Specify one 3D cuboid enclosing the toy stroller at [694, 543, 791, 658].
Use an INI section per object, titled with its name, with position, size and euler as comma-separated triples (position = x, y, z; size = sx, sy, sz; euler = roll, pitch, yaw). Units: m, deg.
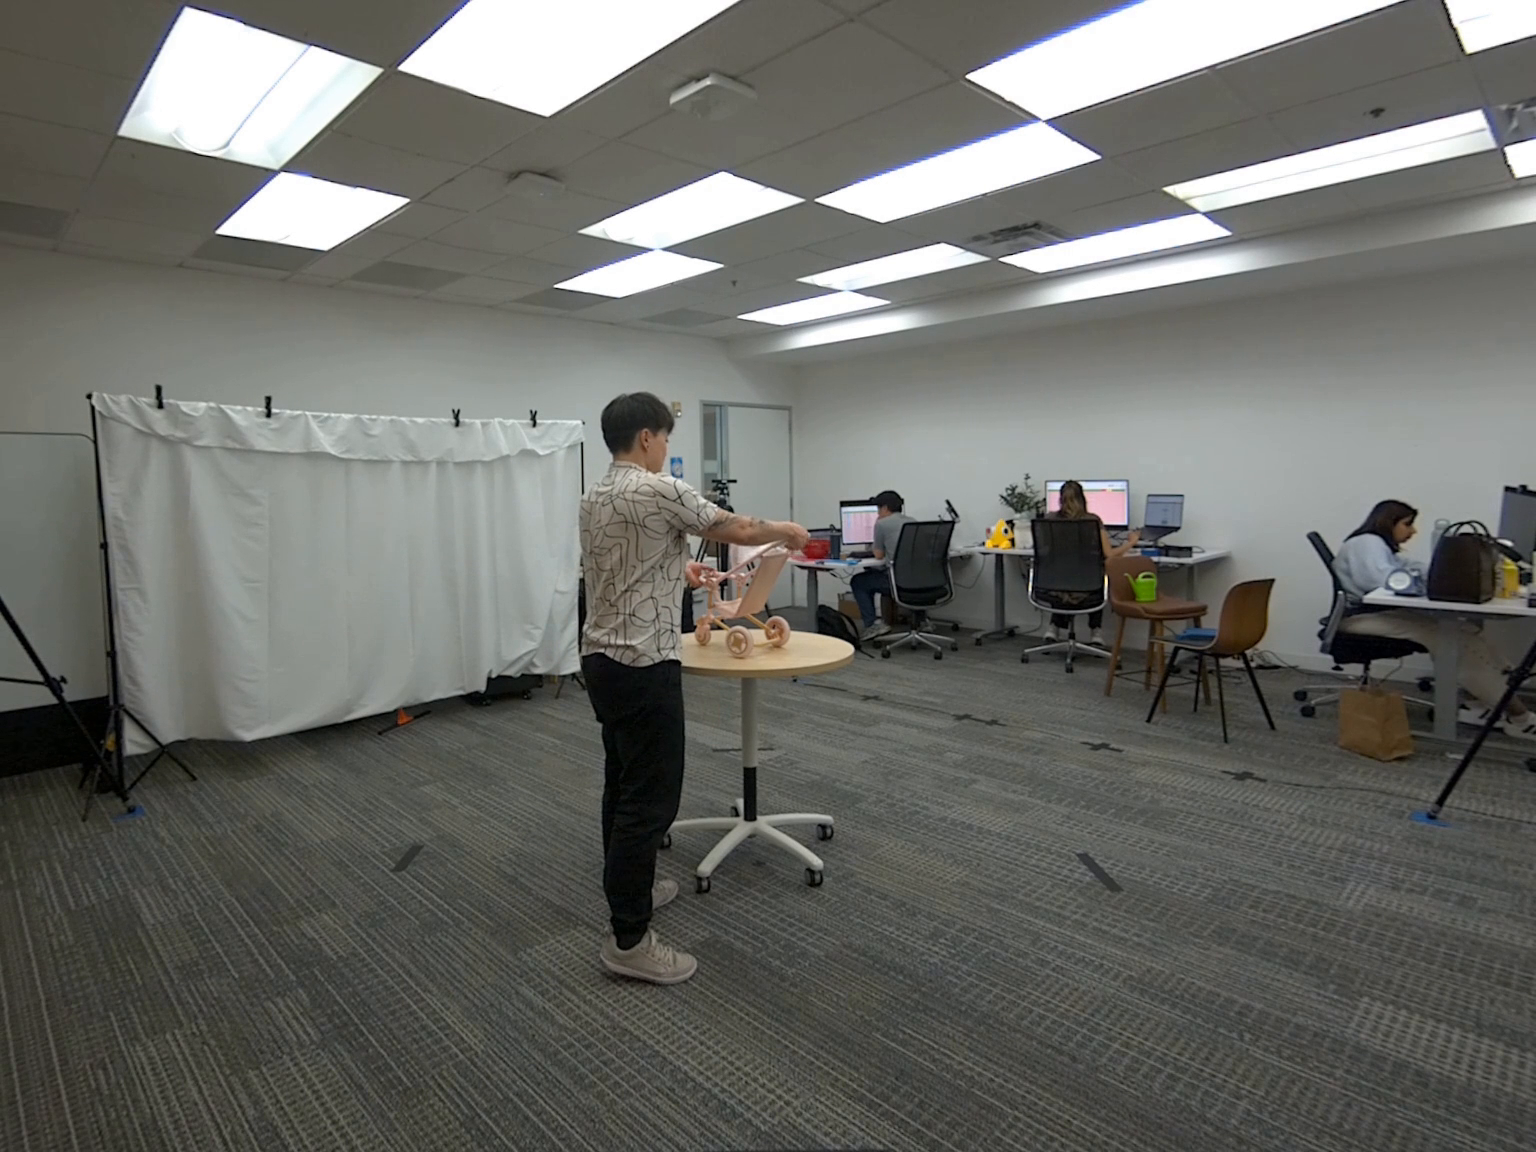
[toy stroller]
position = -0.078, 0.044, 3.061
size = 0.353, 0.530, 0.274
euler = 23, 16, 35
